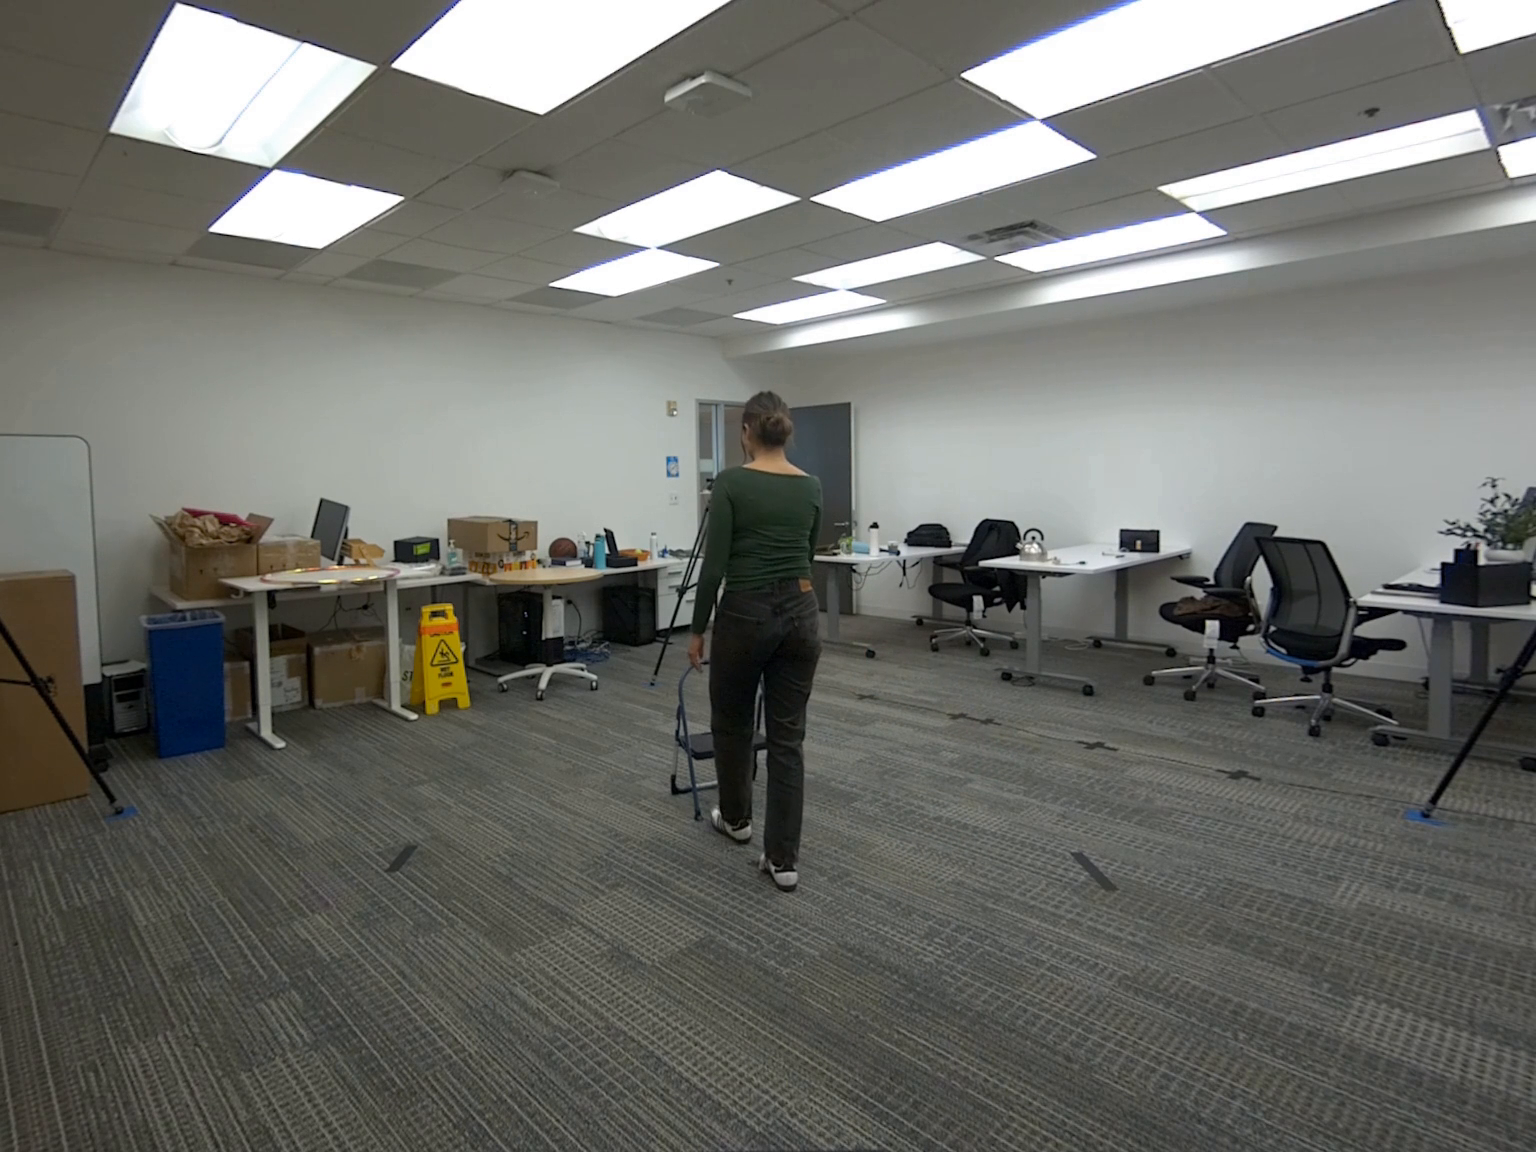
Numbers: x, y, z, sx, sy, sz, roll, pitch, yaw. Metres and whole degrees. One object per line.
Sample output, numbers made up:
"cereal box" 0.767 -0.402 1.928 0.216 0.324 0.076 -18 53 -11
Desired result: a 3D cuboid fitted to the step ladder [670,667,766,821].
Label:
"step ladder" -0.185 0.676 3.725 0.422 0.604 0.358 -3 5 -25
